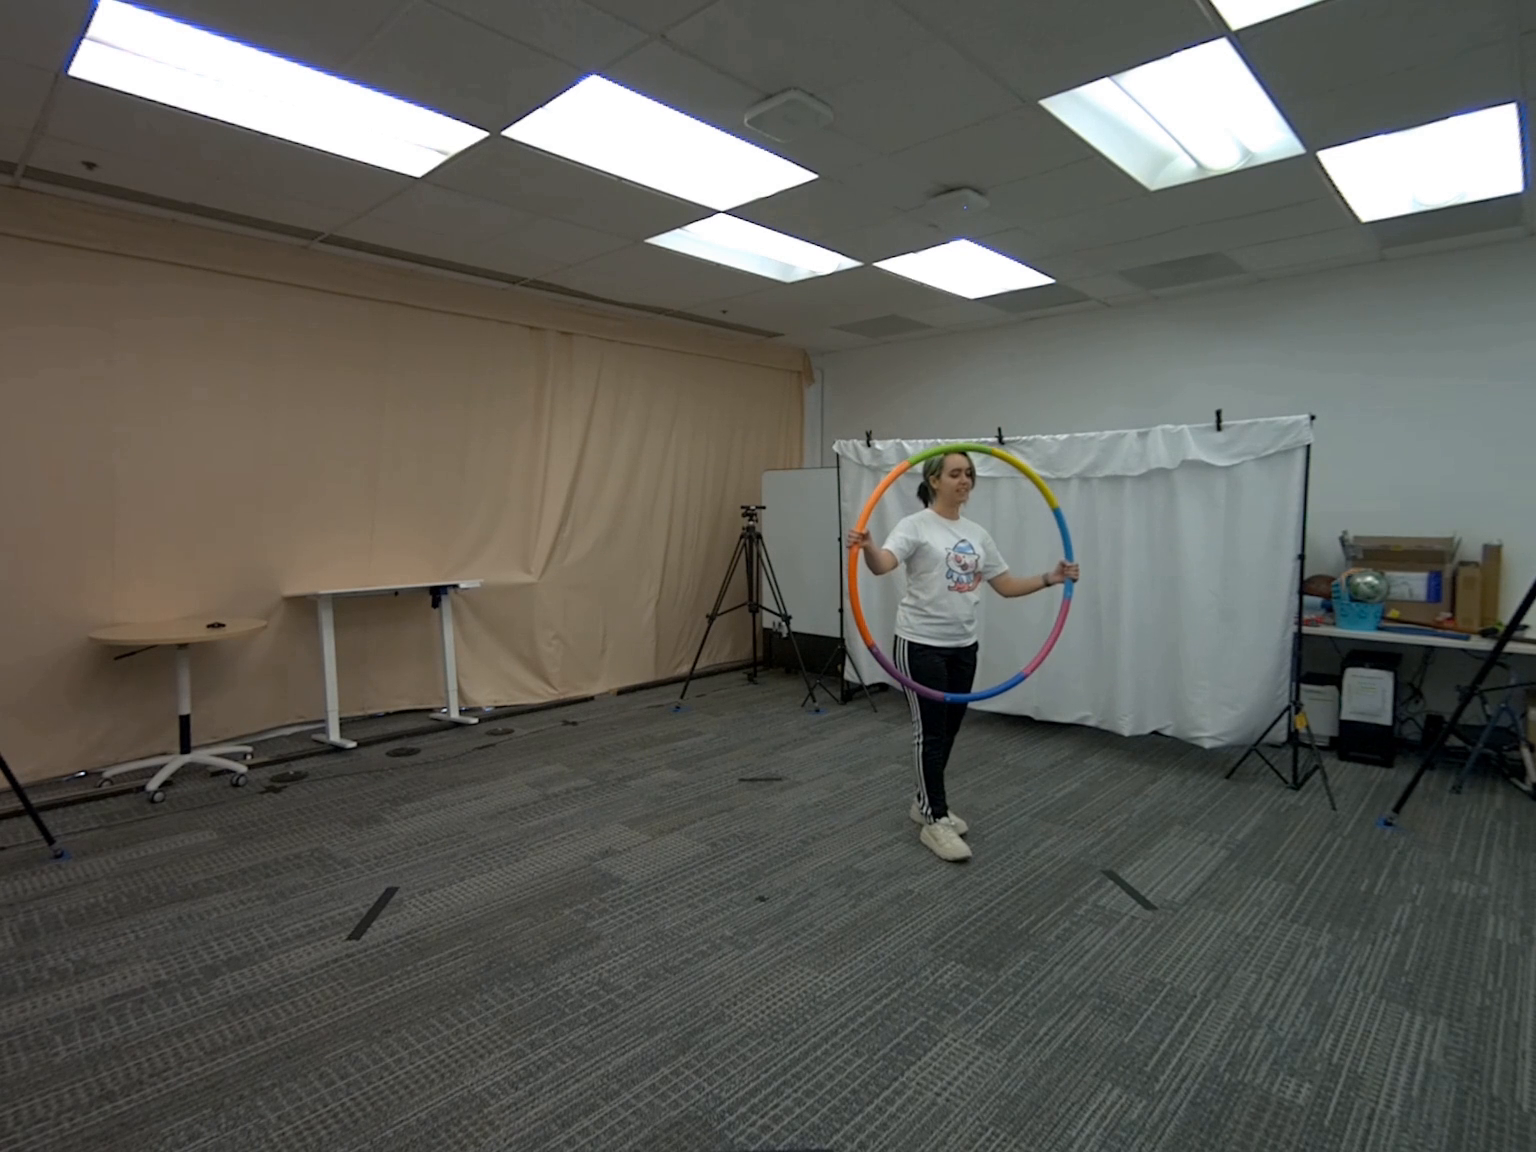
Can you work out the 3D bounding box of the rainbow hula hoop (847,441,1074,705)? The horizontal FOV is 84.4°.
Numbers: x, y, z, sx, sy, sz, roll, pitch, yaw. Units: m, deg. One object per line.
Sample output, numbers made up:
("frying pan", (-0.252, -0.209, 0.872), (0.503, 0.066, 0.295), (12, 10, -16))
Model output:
("rainbow hula hoop", (0.757, -0.008, 3.188), (0.960, 0.978, 0.036), (-1, 1, -18))
